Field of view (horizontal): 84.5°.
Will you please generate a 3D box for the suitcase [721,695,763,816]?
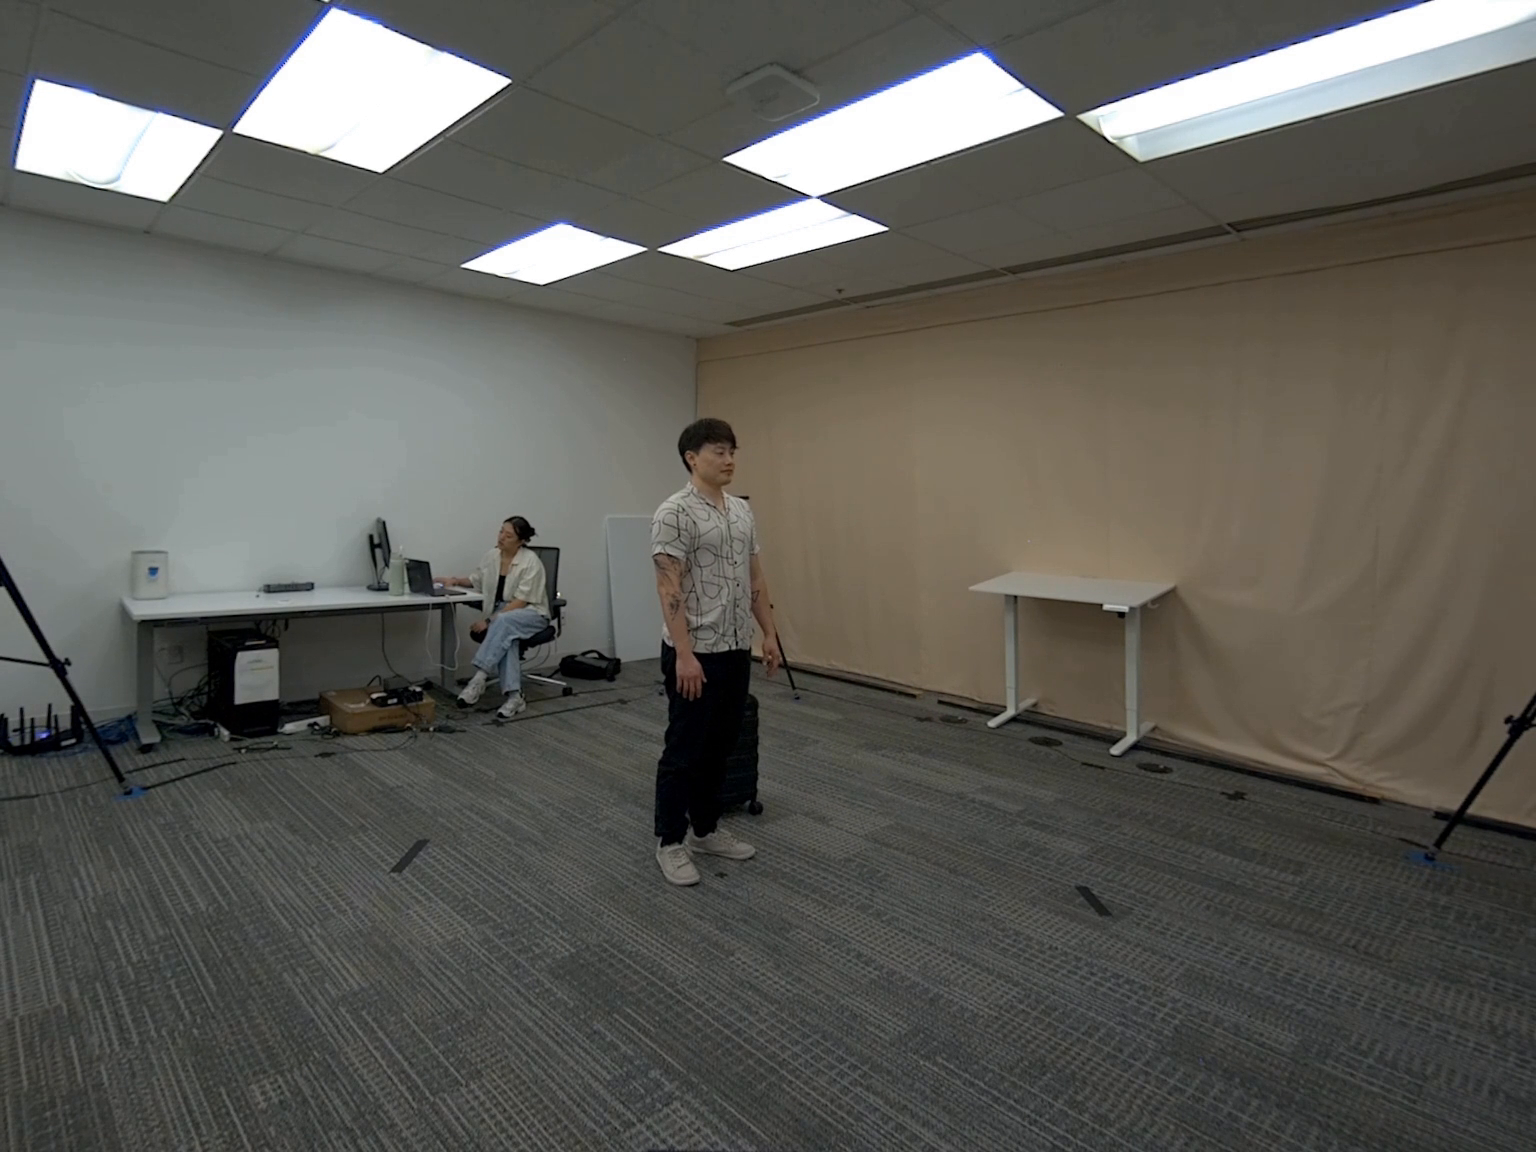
[{"bbox_3d":[-0.240,0.771,3.743,0.368,0.548,0.254,-1,3,-31],"label":"suitcase"}]
